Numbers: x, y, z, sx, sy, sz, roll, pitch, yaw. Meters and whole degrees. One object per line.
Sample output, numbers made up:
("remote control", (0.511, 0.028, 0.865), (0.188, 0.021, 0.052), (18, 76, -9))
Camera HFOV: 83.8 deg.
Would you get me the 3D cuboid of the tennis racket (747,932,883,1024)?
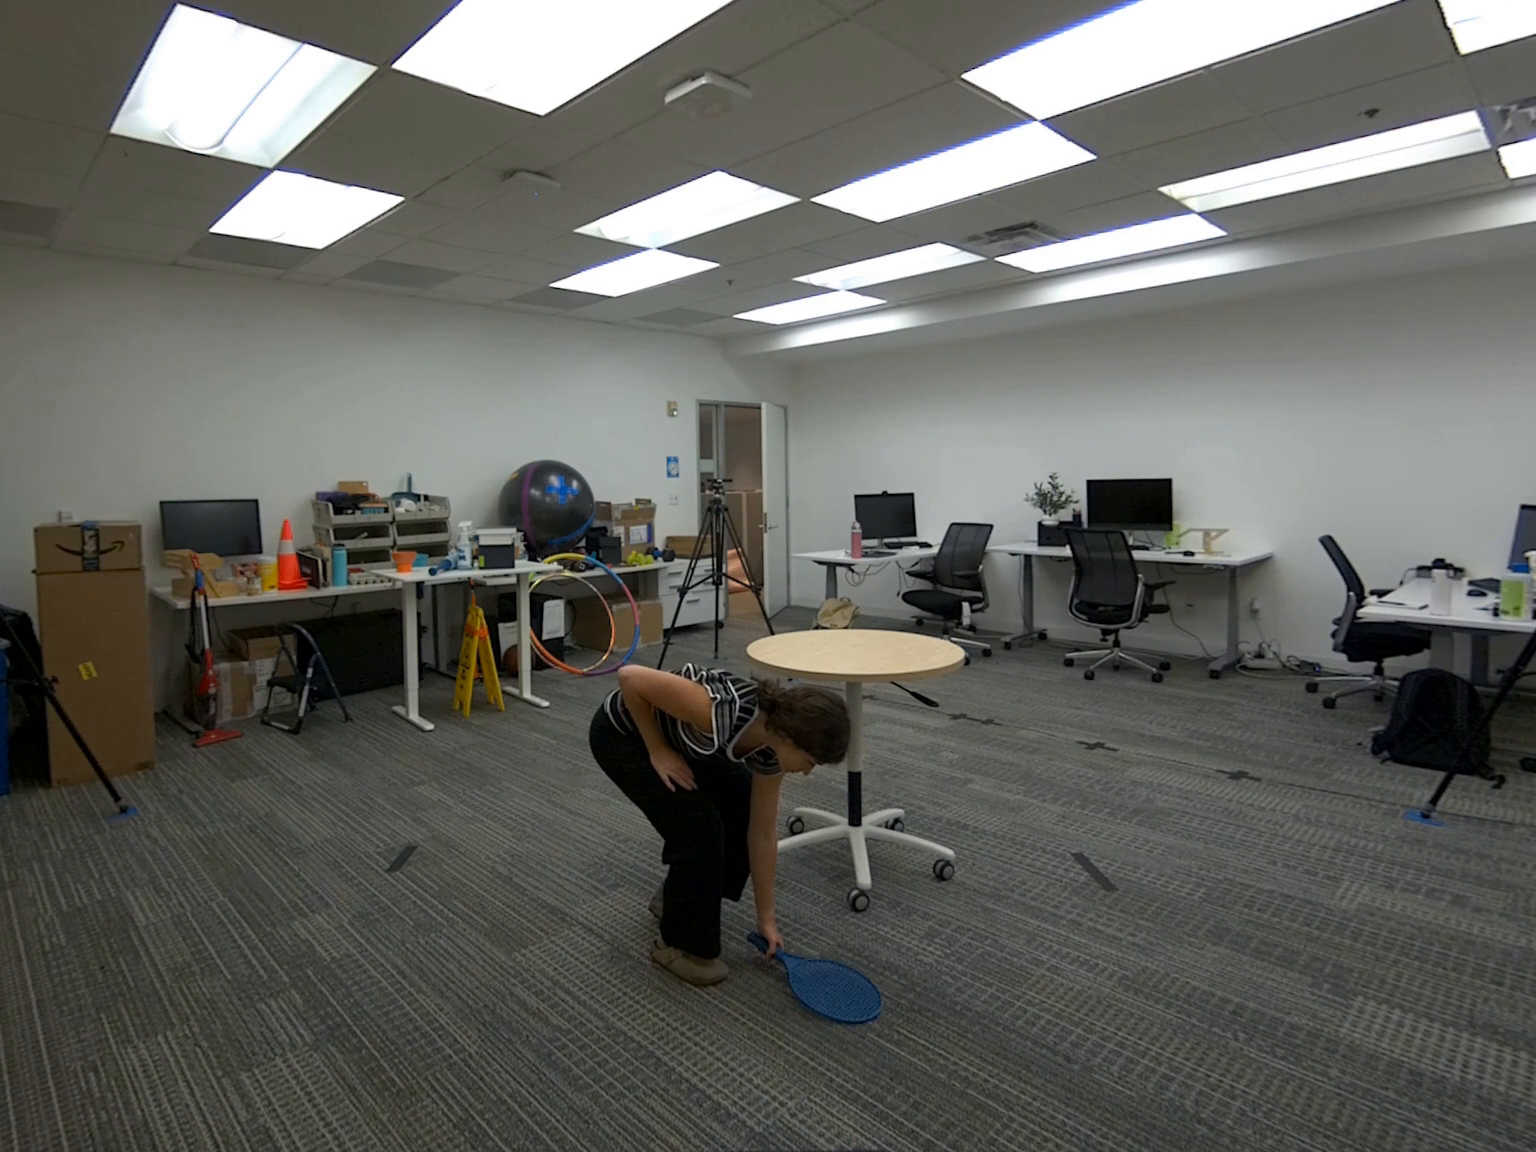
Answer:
("tennis racket", (0.119, 1.103, 2.341), (0.447, 0.031, 0.208), (11, 12, 38))
